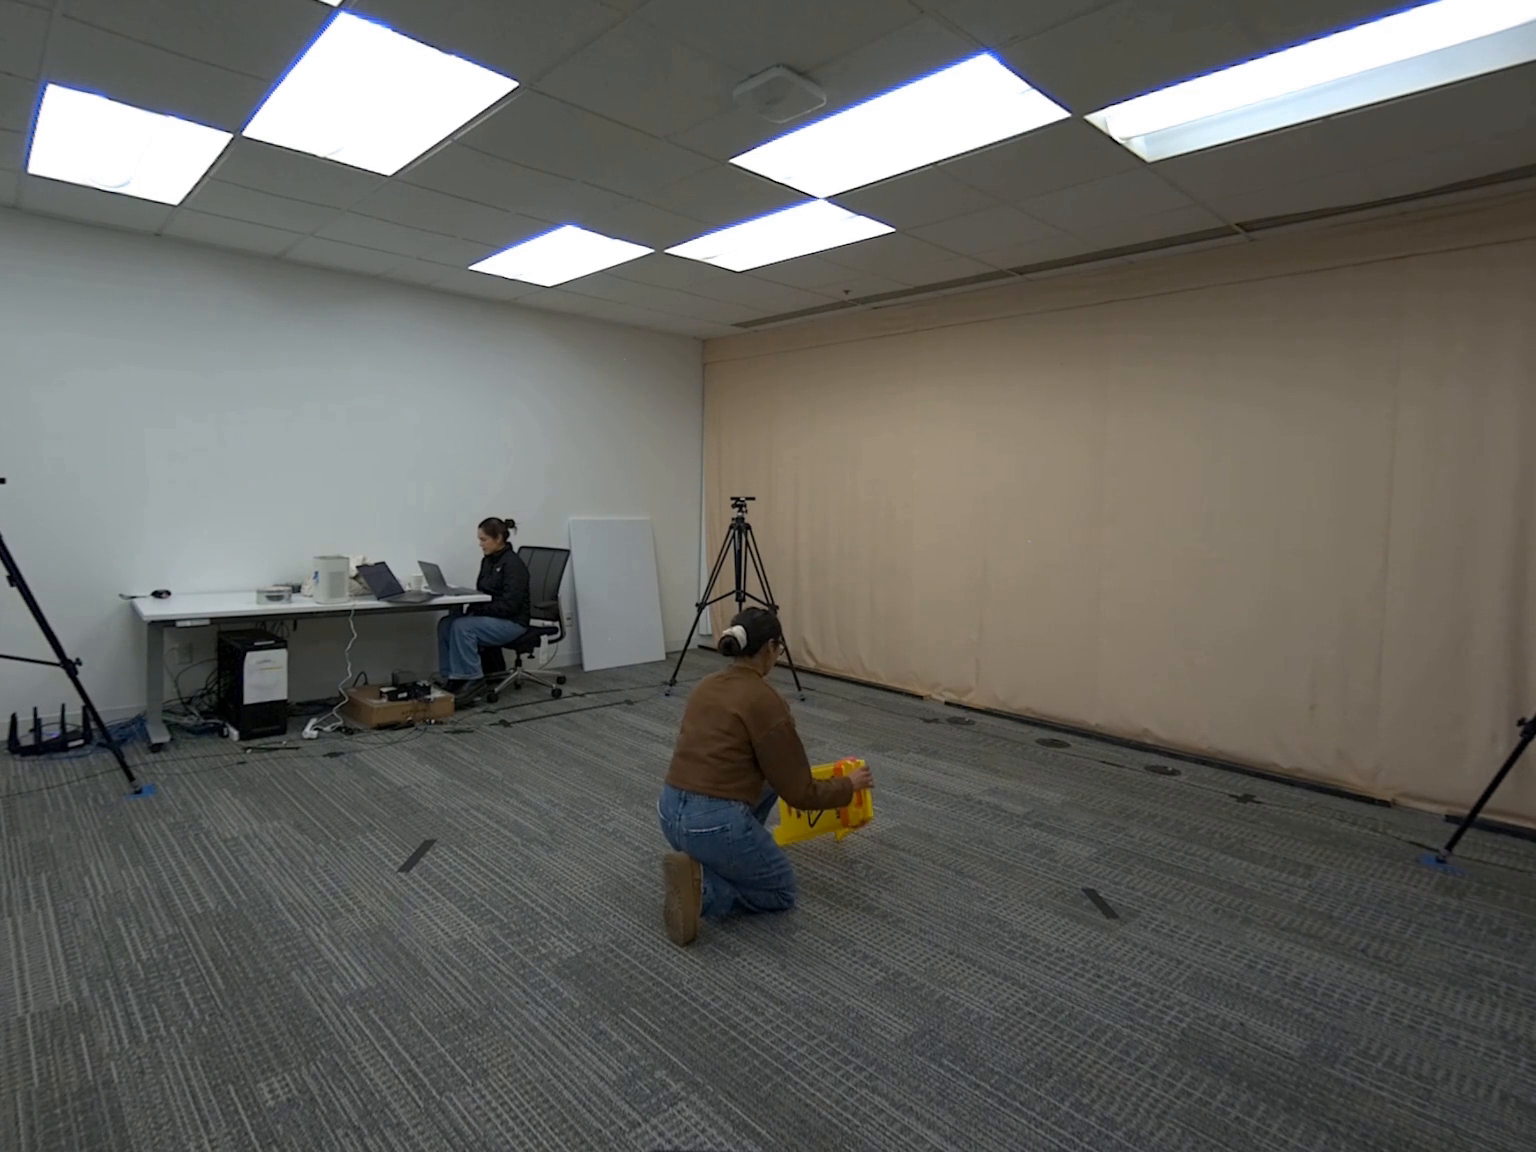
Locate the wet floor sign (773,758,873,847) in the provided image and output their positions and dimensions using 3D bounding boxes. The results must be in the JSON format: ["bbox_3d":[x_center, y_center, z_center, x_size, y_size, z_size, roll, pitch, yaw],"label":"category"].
[{"bbox_3d":[0.235,0.847,3.192,0.285,0.287,0.645,0,-21,-20],"label":"wet floor sign"}]
